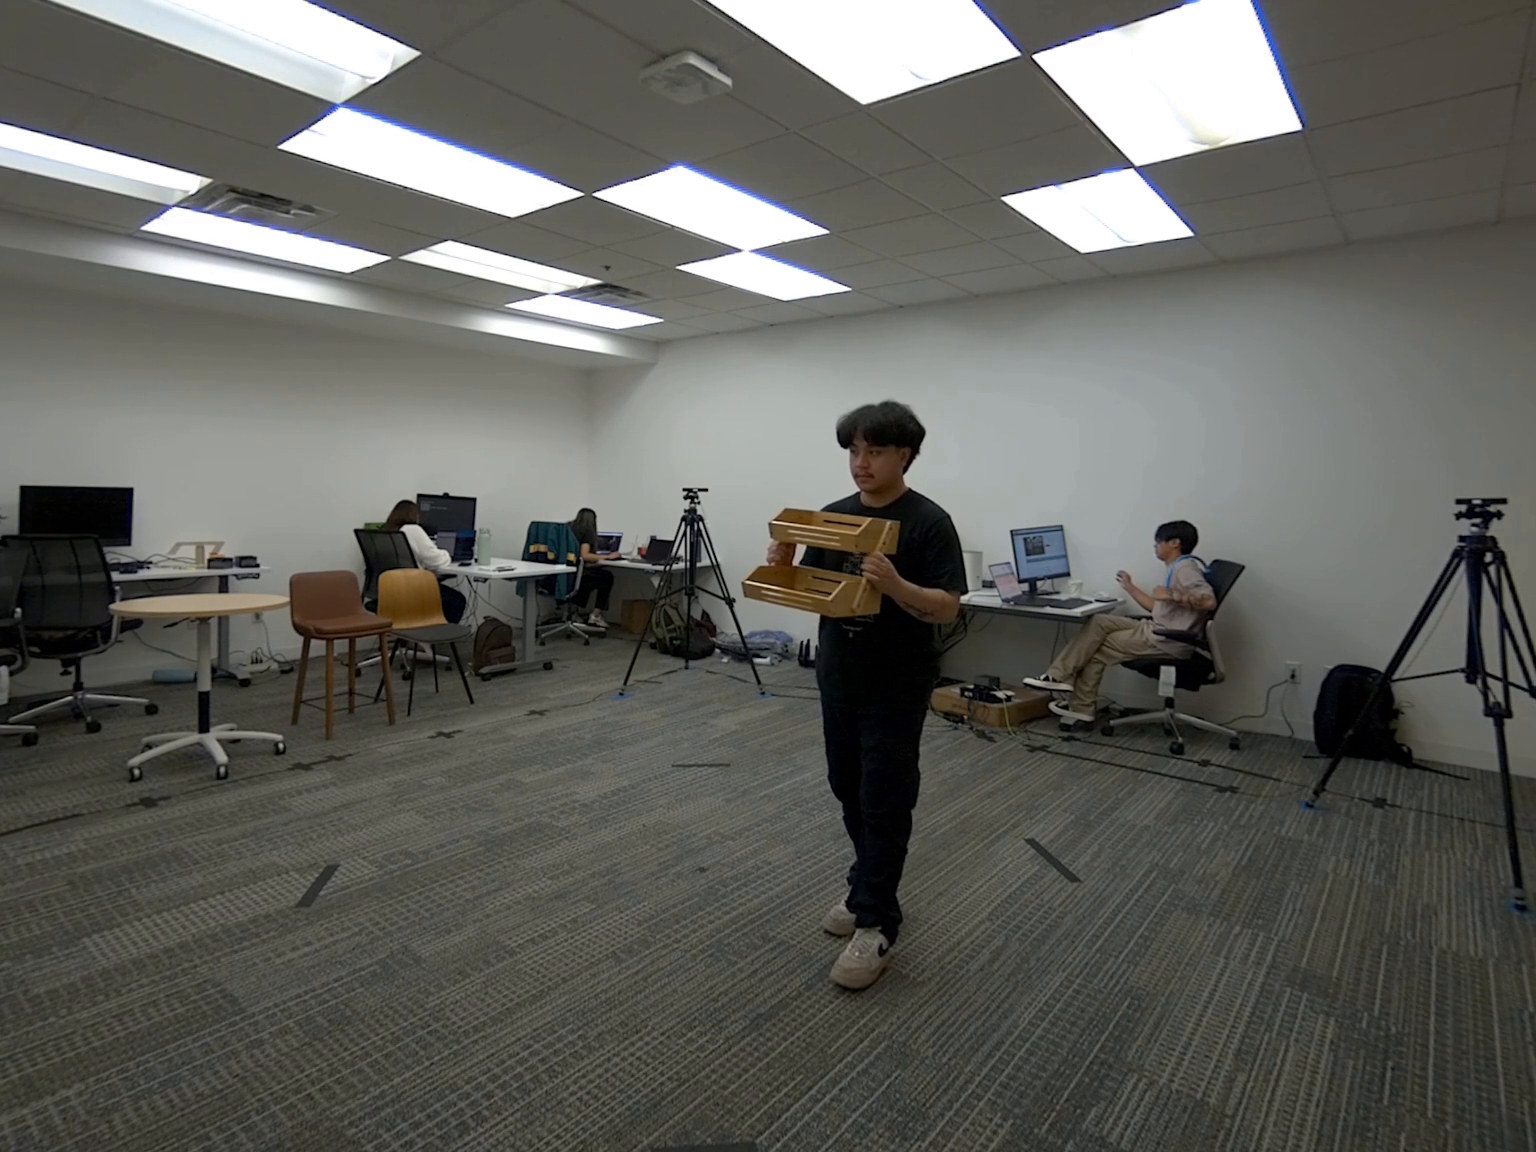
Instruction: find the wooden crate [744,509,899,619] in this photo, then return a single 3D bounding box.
[{"bbox_3d":[0.132,-0.056,2.376,0.336,0.272,0.292,11,6,40],"label":"wooden crate"}]
